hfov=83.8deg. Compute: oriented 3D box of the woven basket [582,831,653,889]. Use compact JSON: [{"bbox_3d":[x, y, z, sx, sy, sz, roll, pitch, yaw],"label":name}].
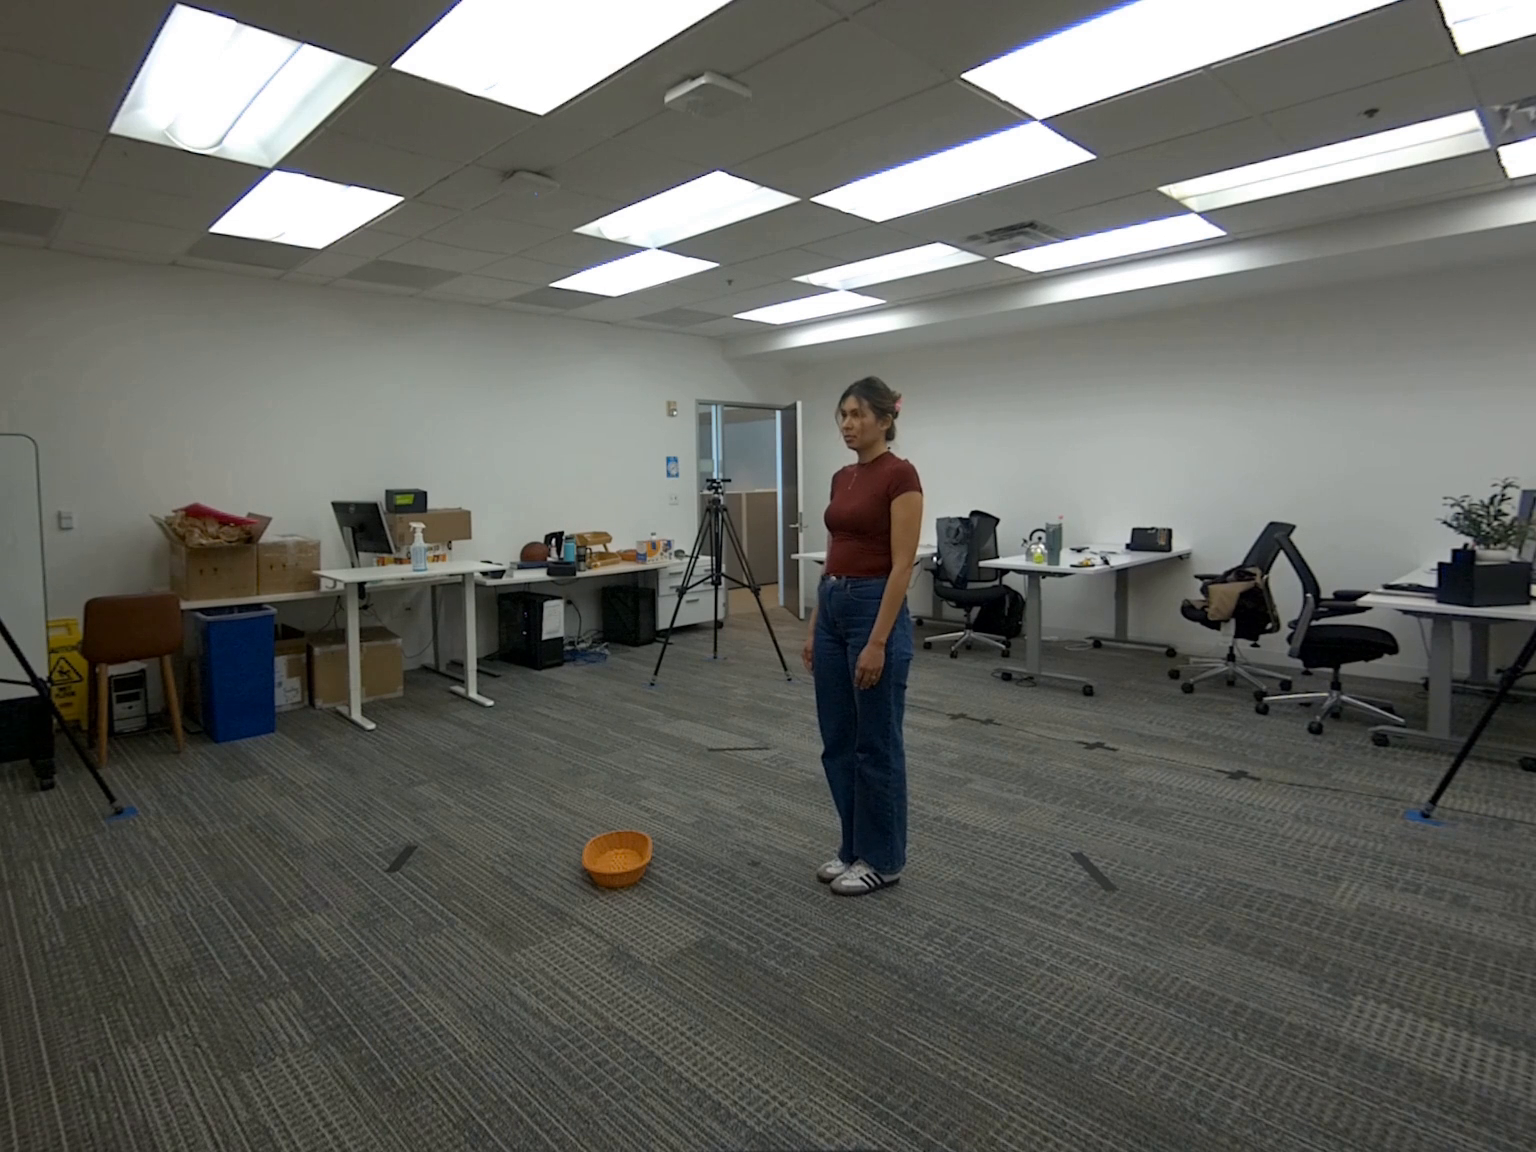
[{"bbox_3d":[-0.535,1.015,3.074,0.251,0.073,0.353,-3,6,-5],"label":"woven basket"}]
